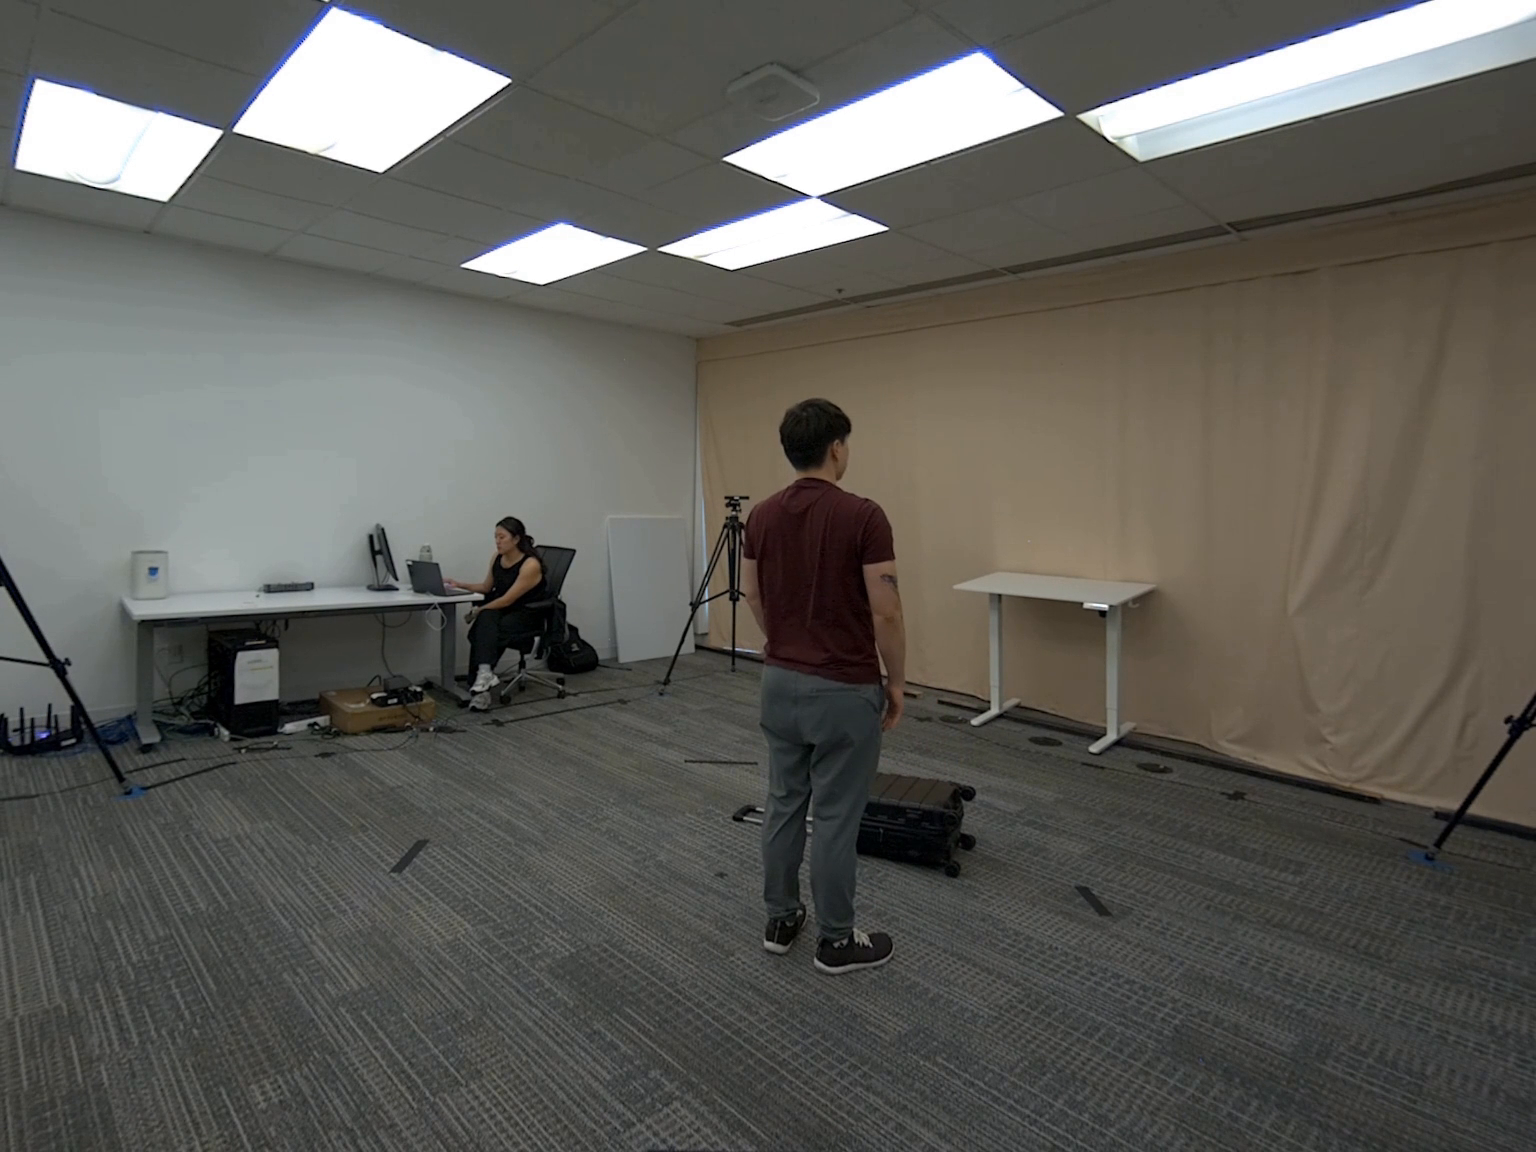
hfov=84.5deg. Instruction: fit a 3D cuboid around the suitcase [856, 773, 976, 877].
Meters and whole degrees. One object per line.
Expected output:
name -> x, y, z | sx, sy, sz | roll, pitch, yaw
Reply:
suitcase -> 0.325, 0.953, 3.481 | 0.998, 0.256, 0.378 | 4, 7, 26
